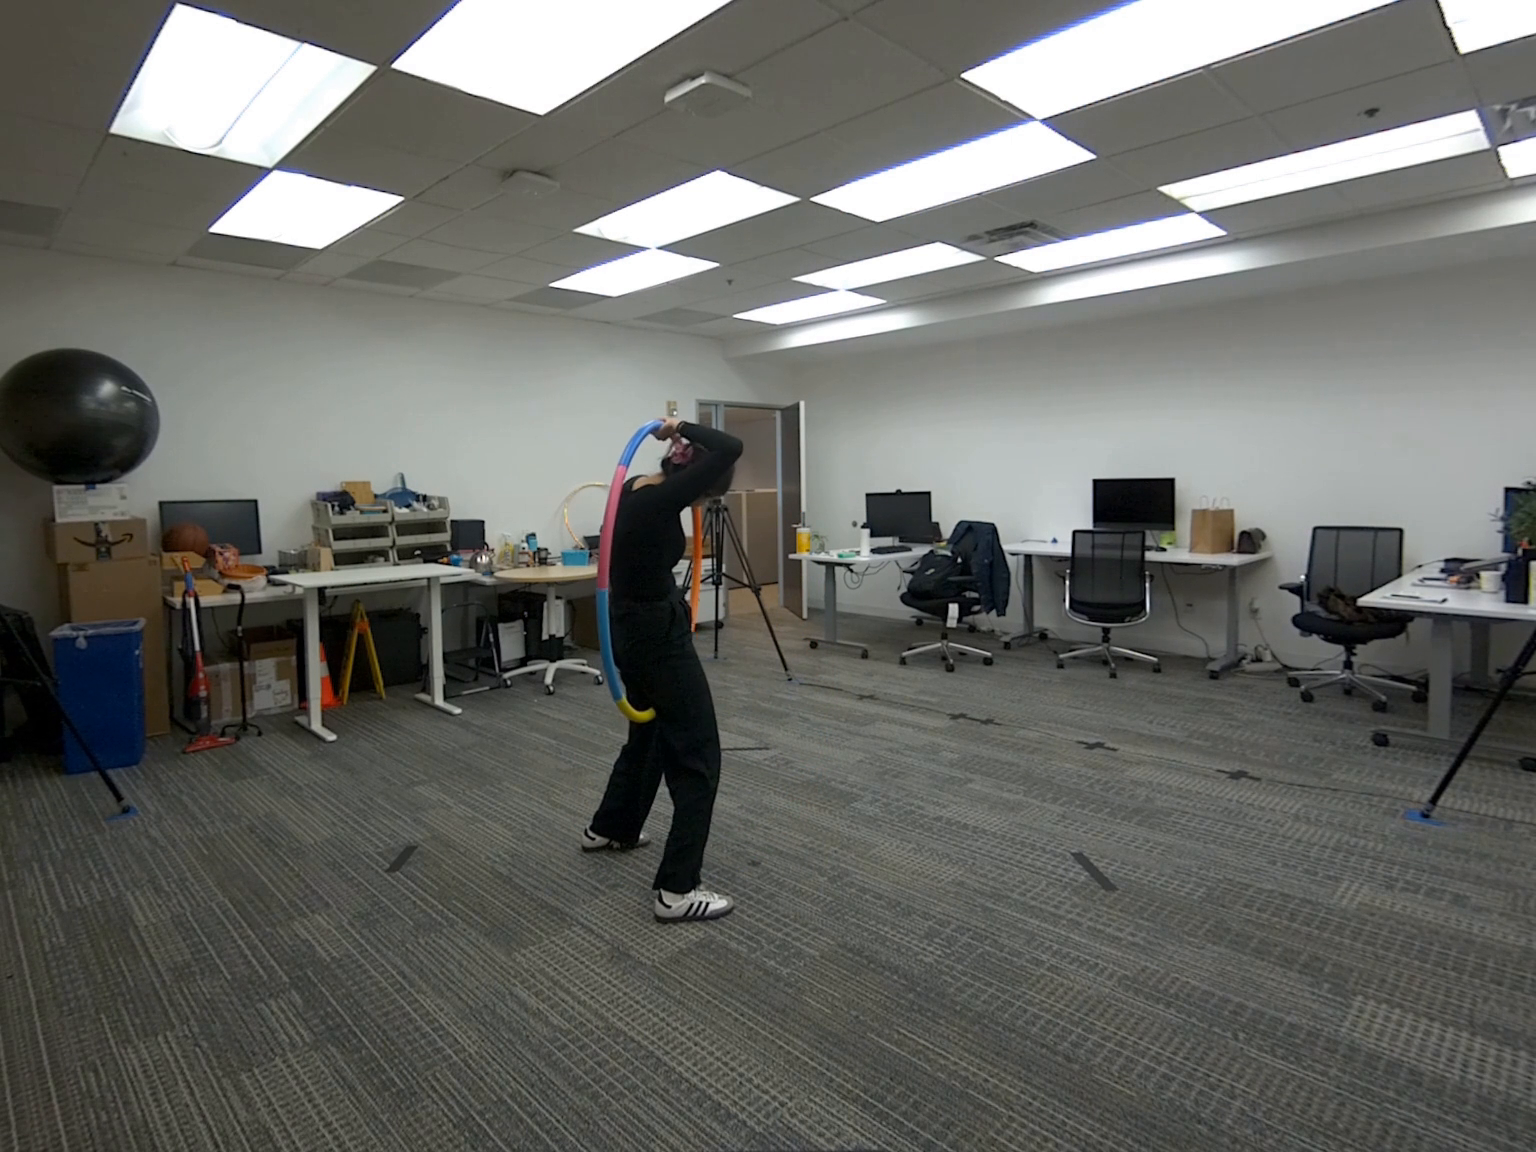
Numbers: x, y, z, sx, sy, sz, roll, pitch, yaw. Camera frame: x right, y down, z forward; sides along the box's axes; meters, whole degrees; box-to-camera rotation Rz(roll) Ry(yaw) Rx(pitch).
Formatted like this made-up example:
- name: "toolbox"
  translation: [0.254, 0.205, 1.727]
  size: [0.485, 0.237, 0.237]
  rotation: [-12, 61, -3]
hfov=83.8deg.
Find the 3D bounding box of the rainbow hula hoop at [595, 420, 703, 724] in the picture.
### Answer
- name: "rainbow hula hoop"
  translation: [-0.364, -0.020, 2.857]
  size: [0.036, 0.975, 0.970]
  rotation: [1, 5, 11]
